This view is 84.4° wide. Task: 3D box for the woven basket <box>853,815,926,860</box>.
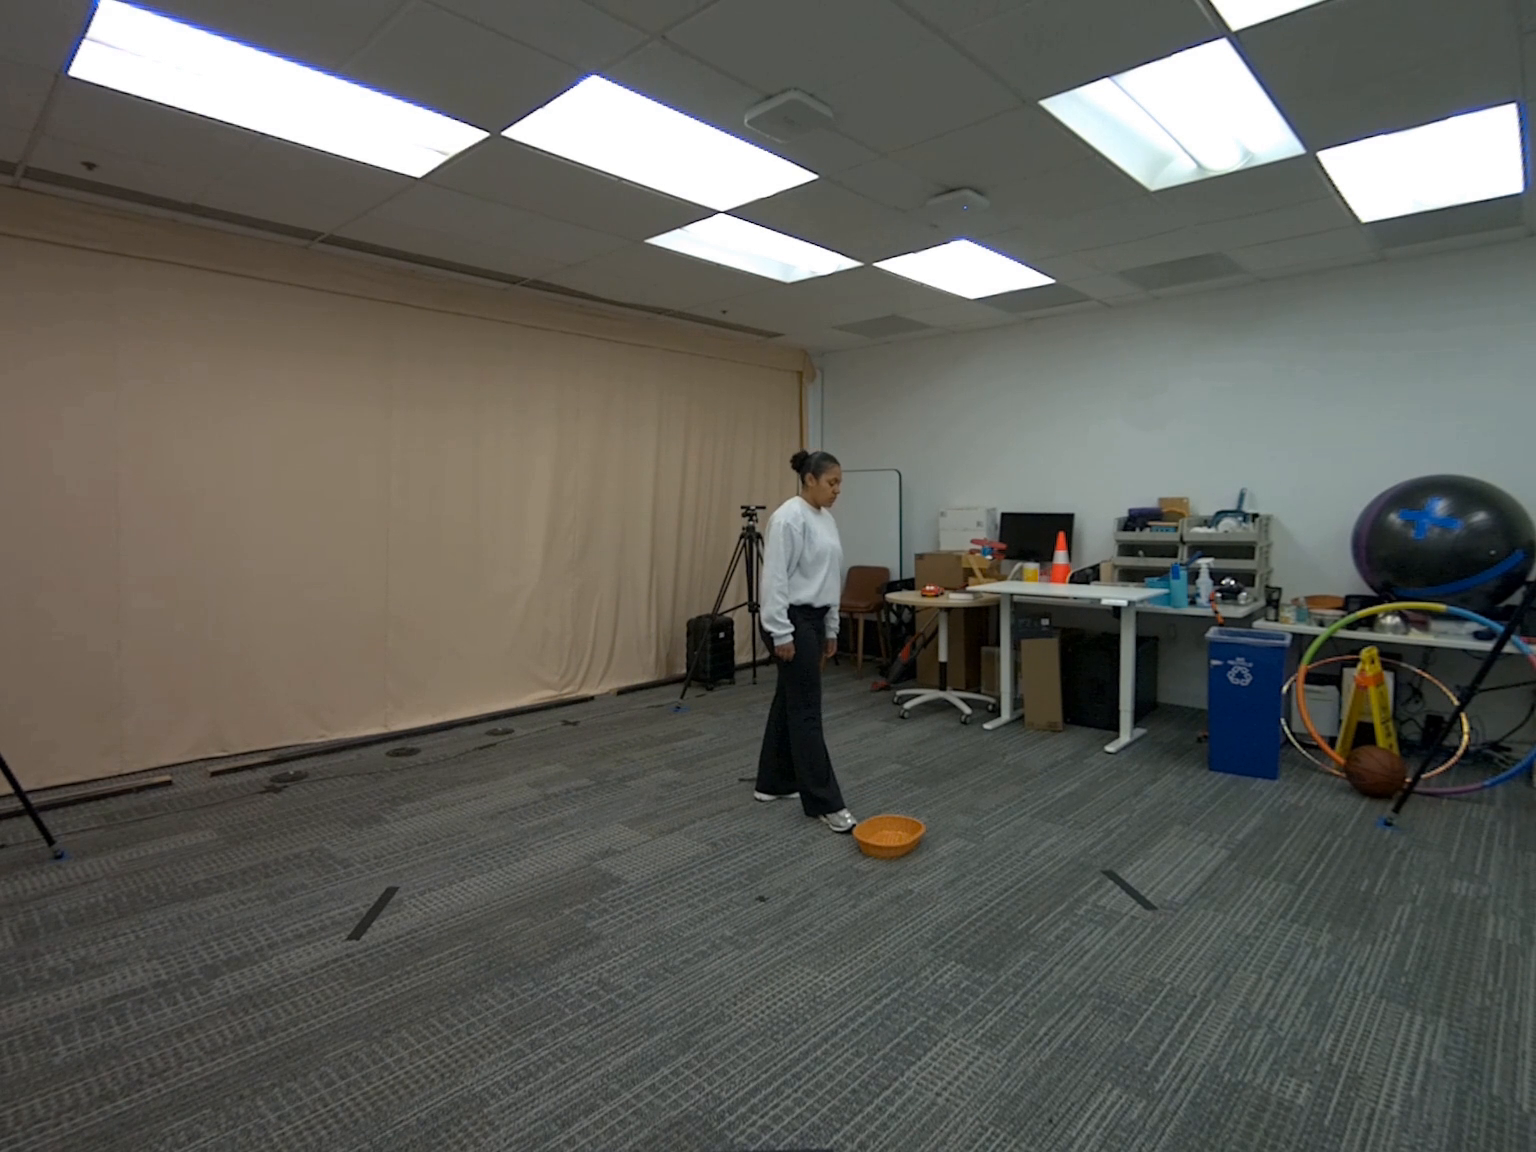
[{"bbox_3d":[0.498,1.064,3.446,0.261,0.073,0.340,4,7,41],"label":"woven basket"}]
